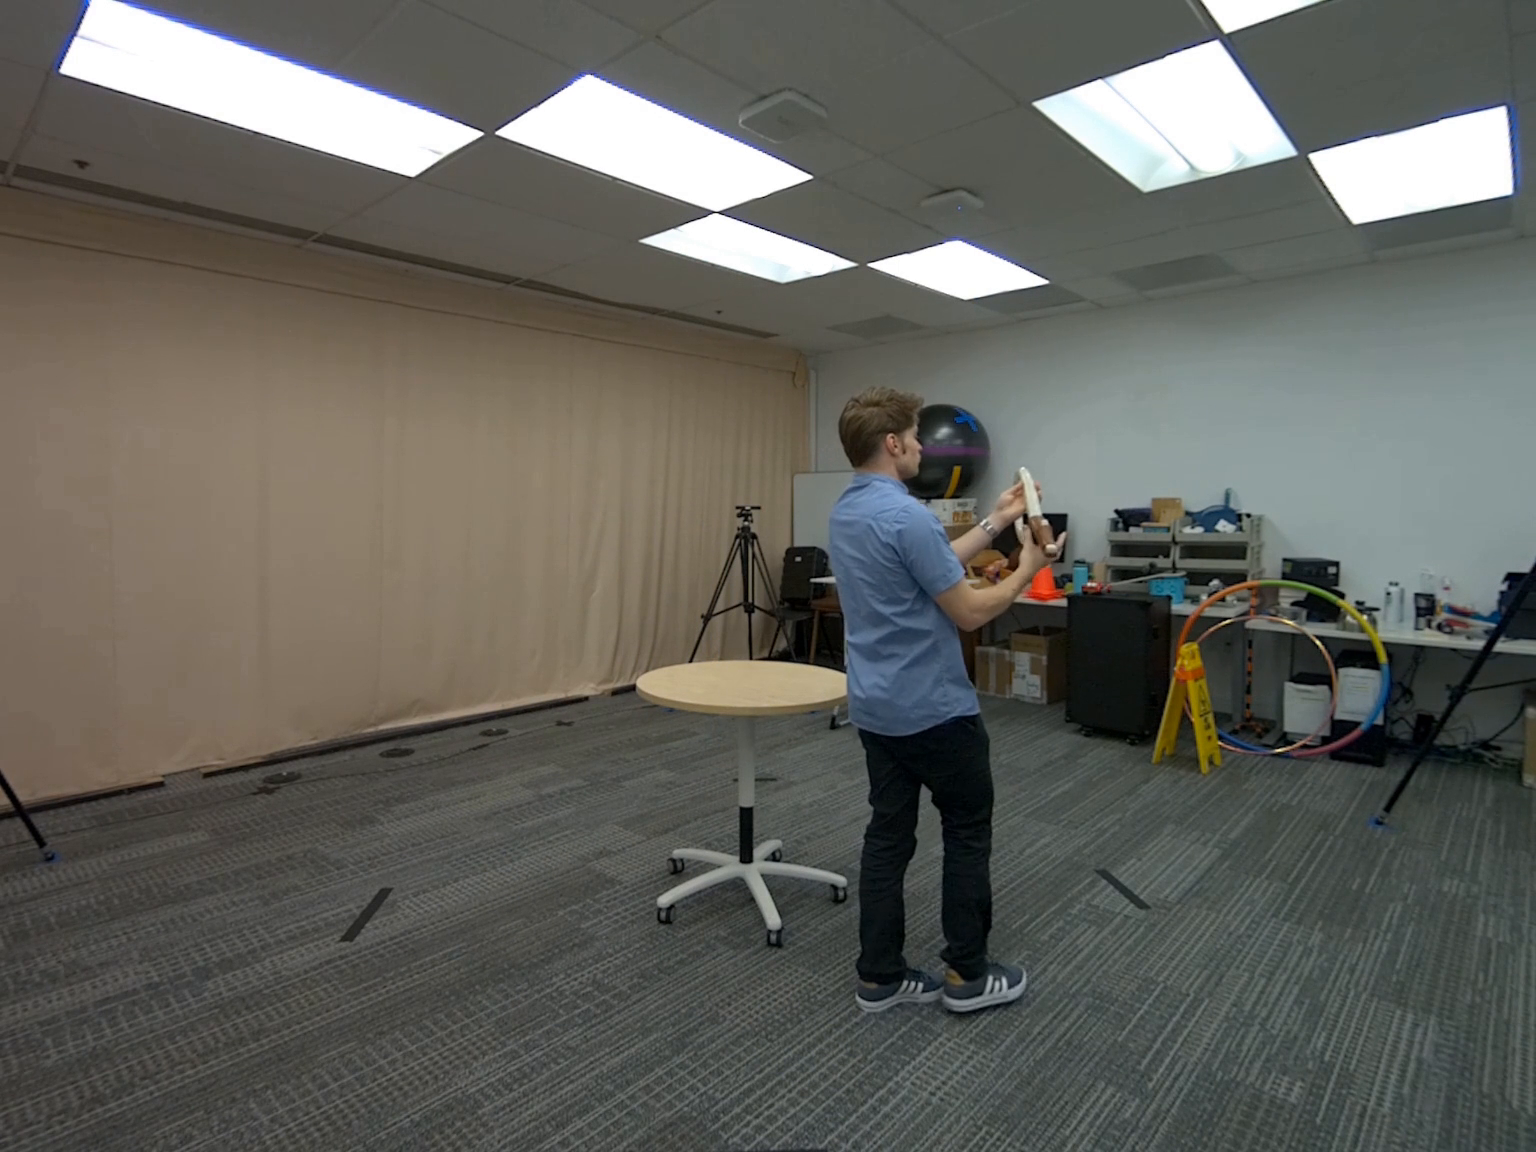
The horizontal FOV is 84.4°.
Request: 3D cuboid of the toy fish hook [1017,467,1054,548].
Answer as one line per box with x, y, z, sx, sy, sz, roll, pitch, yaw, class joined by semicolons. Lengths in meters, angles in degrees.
0.789;-0.139;2.417;0.049;0.220;0.511;-6;29;9;toy fish hook
